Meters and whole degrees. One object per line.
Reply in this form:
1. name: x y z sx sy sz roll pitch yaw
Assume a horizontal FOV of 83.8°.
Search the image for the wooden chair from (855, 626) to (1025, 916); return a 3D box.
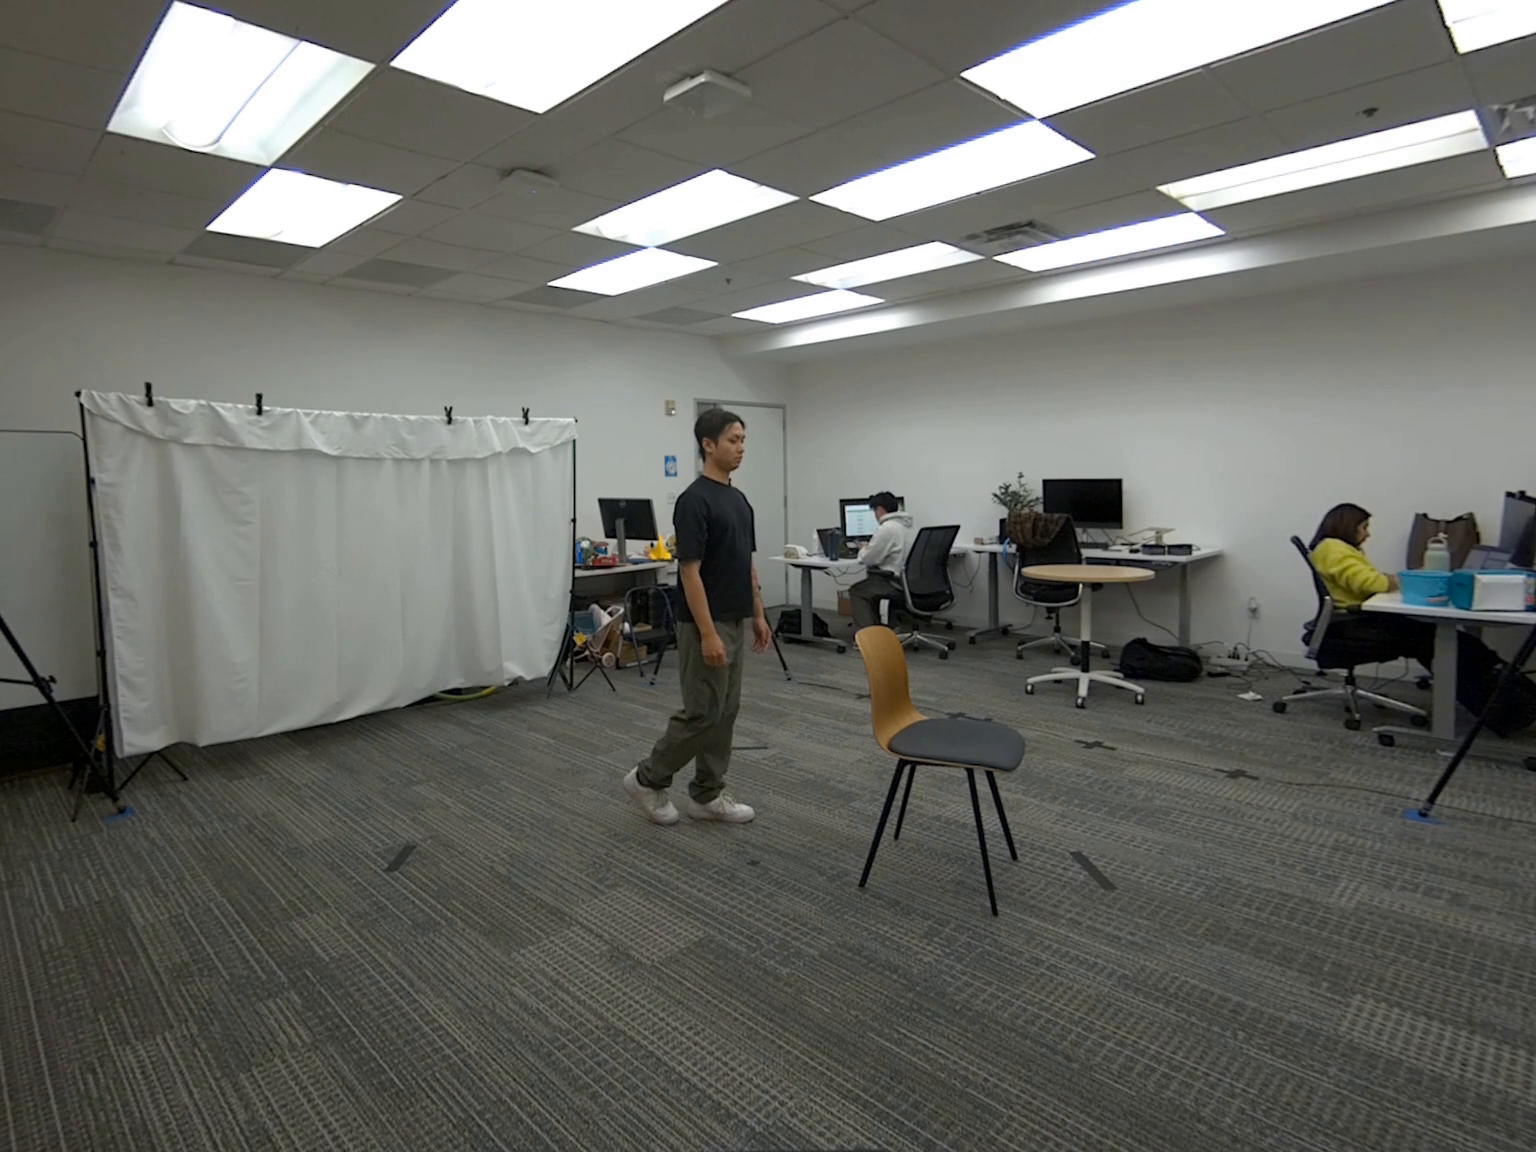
1. wooden chair: 0.608 0.616 2.965 0.535 0.876 0.468 -4 2 26
